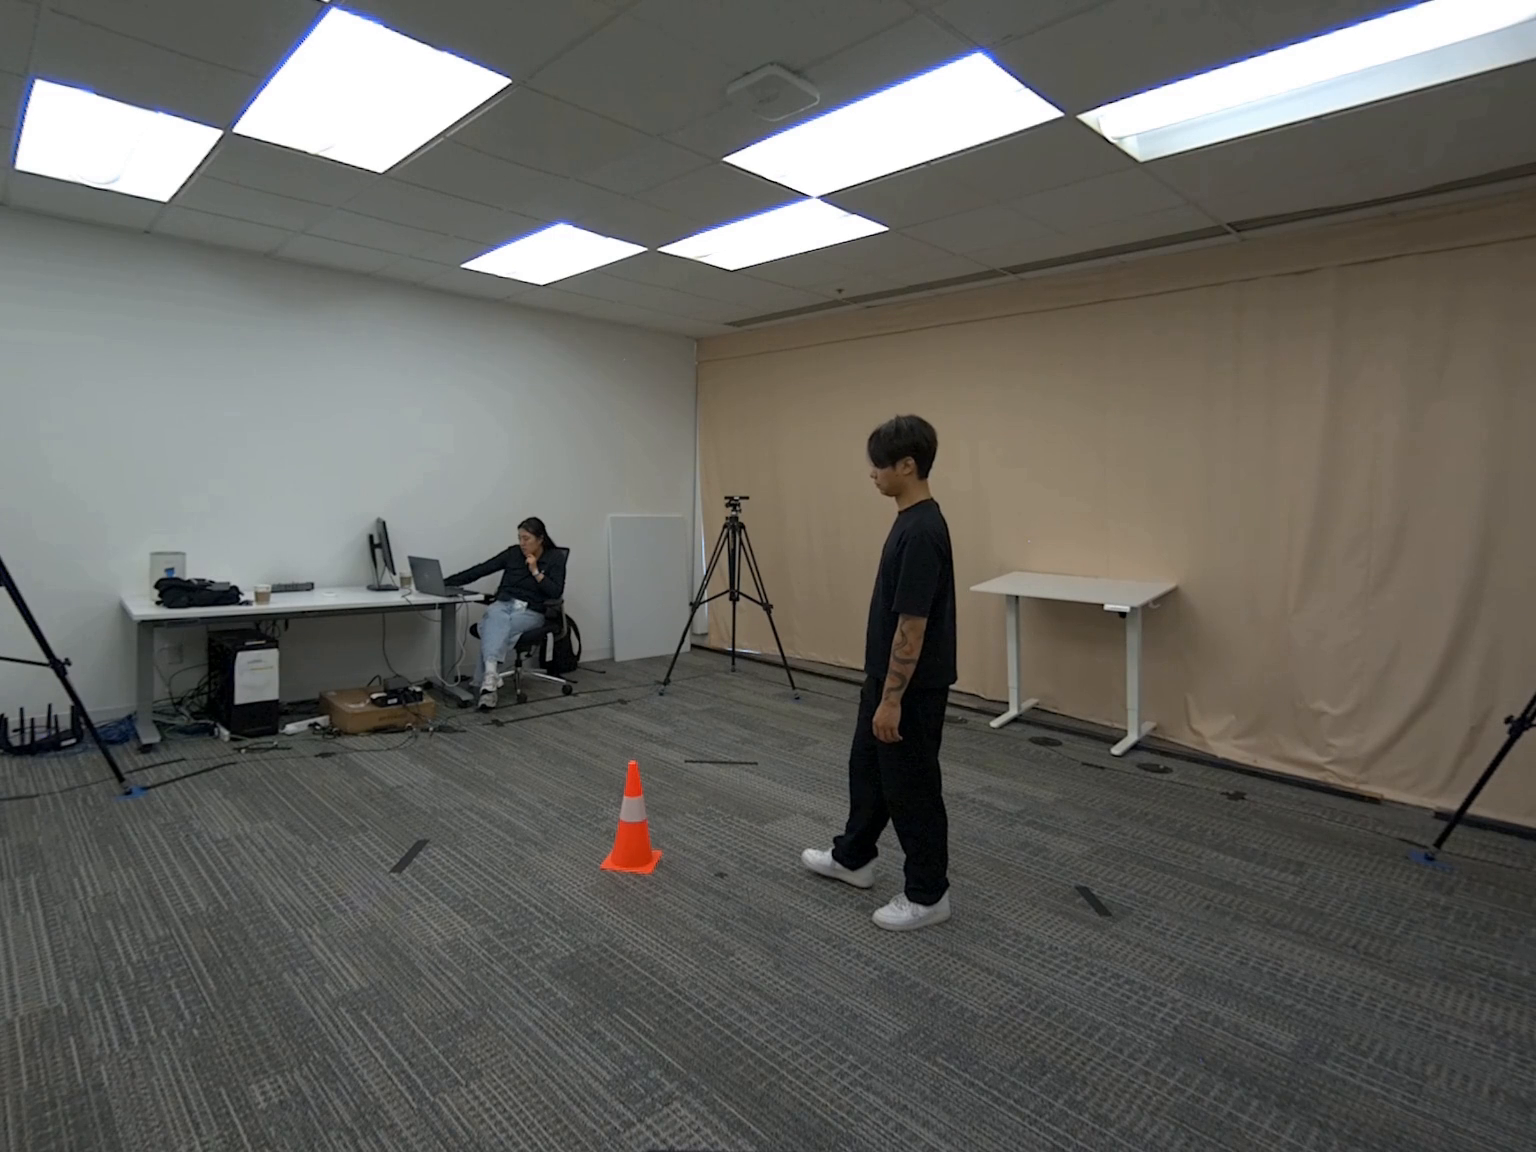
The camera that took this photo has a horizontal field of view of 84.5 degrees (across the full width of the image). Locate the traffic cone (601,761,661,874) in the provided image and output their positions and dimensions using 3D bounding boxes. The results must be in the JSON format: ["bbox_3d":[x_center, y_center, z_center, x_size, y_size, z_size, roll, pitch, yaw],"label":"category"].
[{"bbox_3d":[-0.523,0.901,3.217,0.204,0.383,0.204,3,3,6],"label":"traffic cone"}]
